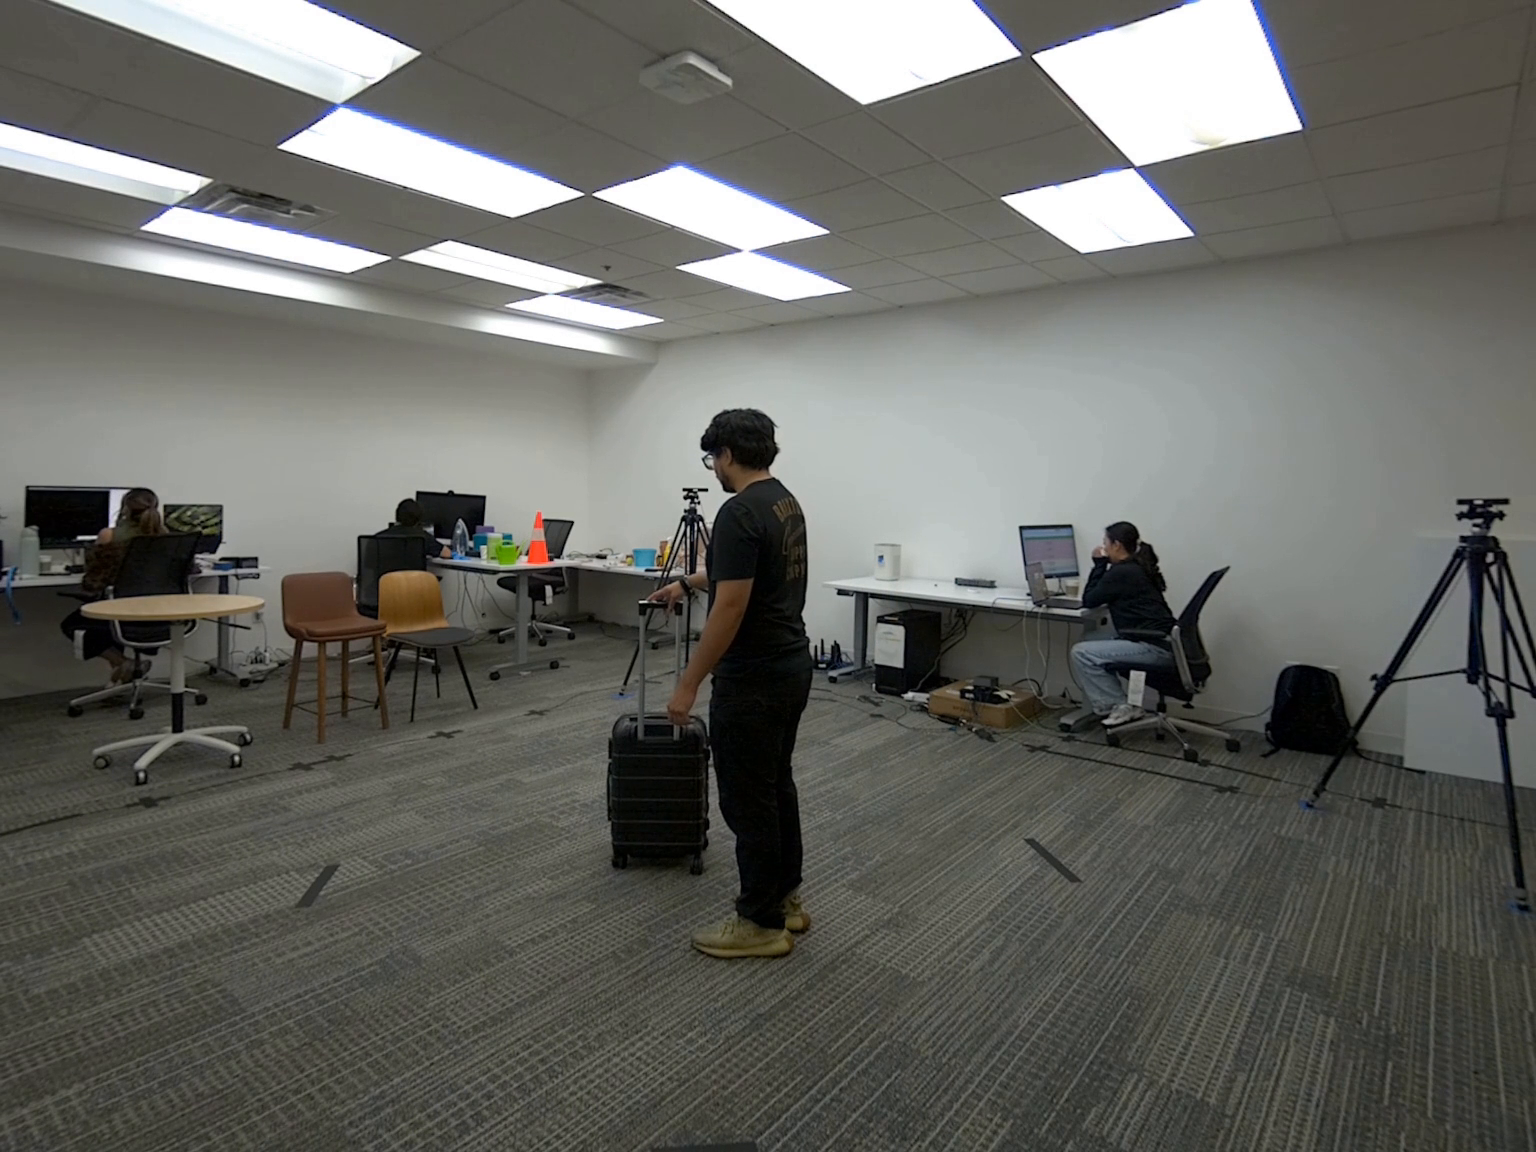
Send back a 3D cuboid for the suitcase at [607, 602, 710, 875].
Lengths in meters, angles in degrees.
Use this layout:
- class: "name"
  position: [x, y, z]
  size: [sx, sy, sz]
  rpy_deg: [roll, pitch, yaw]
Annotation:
- class: "suitcase"
  position: [-0.420, 0.585, 3.180]
  size: [0.383, 0.978, 0.258]
  rpy_deg: [0, 1, -3]
